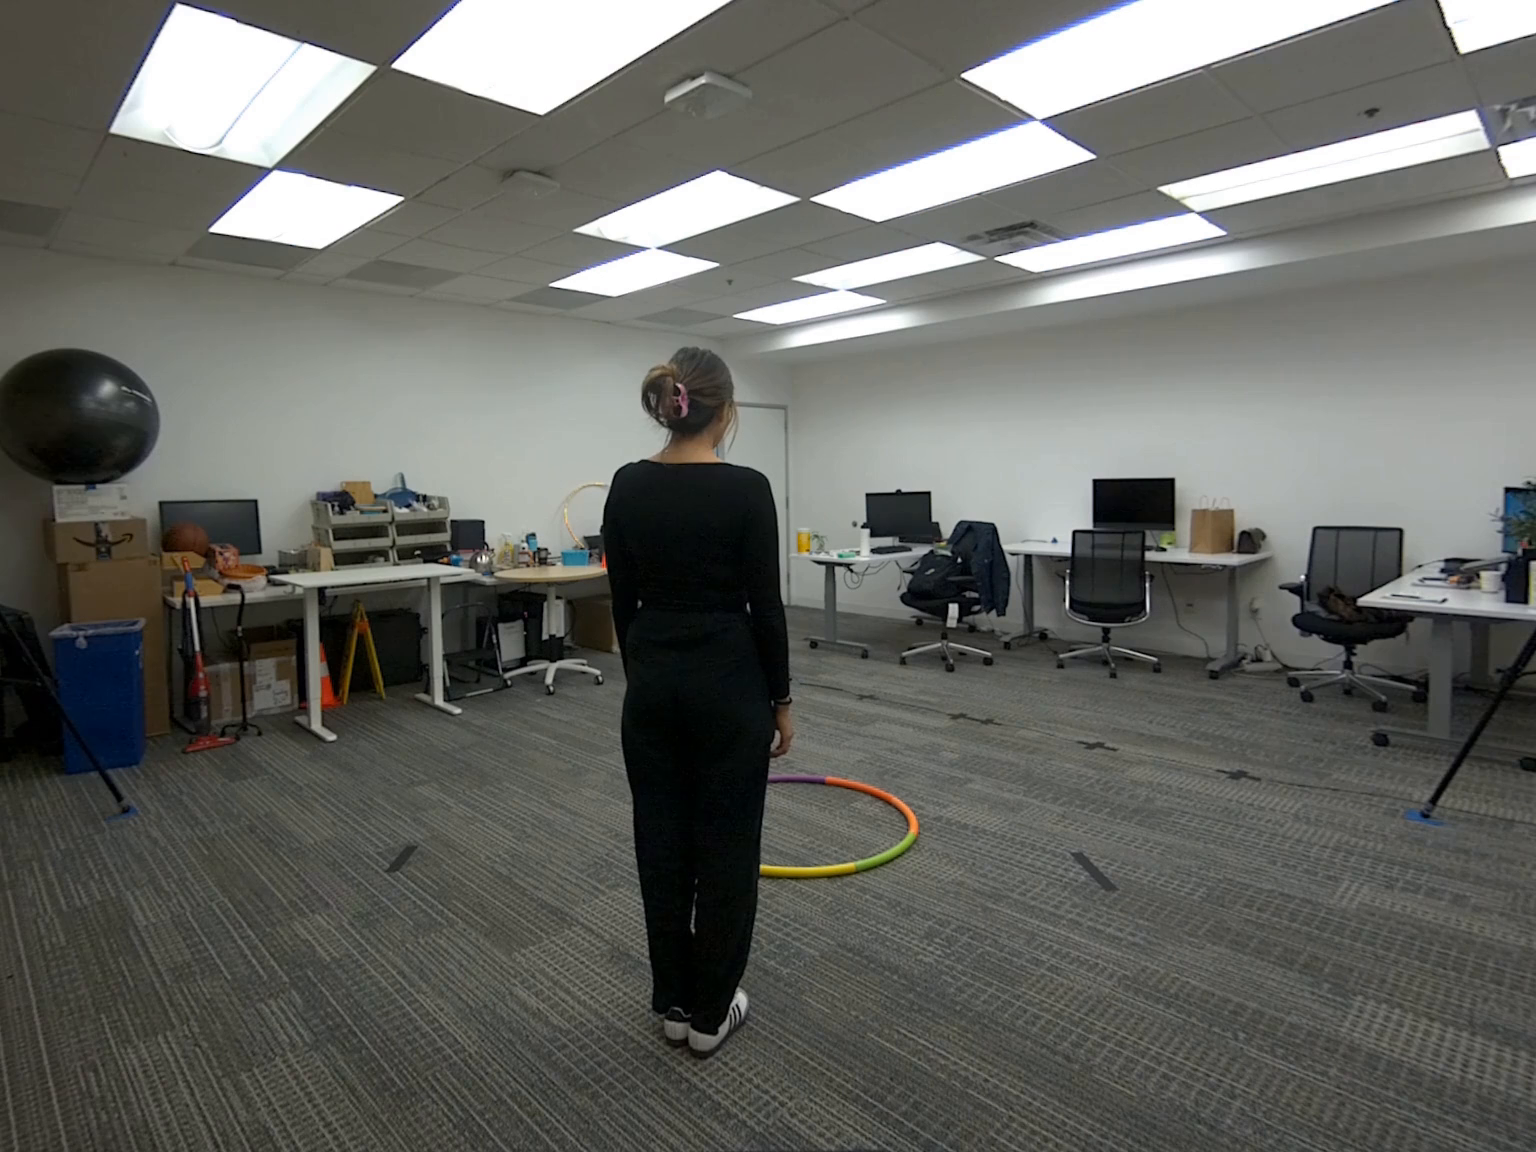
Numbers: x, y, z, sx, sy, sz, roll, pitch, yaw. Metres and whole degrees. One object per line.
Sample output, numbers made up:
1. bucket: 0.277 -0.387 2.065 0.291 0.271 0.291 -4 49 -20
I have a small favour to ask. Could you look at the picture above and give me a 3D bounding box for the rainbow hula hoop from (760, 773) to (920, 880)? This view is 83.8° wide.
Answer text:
1. rainbow hula hoop: 0.098 0.971 3.457 0.978 0.035 0.984 -1 7 -2
